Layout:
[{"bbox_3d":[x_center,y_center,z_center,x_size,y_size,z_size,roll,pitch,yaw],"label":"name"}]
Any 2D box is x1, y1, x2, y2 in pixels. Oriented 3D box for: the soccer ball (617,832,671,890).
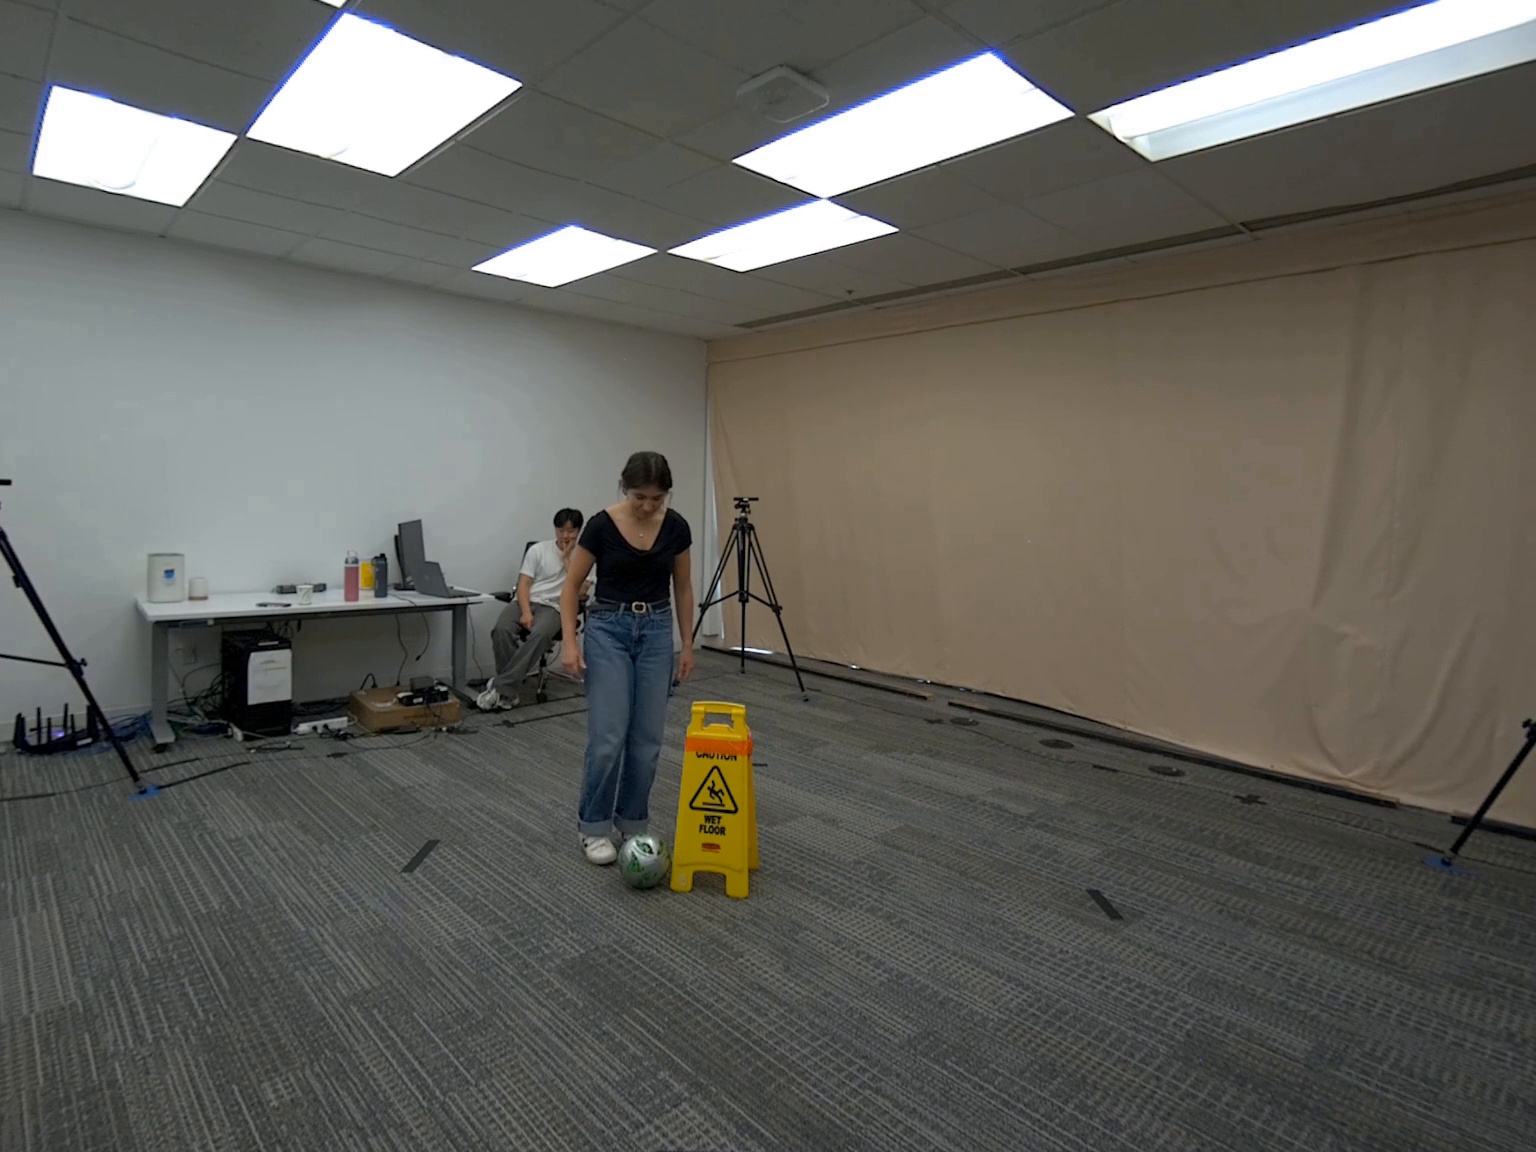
[{"bbox_3d":[-0.458,1.019,3.009,0.187,0.187,0.188,1,4,-1],"label":"soccer ball"}]
